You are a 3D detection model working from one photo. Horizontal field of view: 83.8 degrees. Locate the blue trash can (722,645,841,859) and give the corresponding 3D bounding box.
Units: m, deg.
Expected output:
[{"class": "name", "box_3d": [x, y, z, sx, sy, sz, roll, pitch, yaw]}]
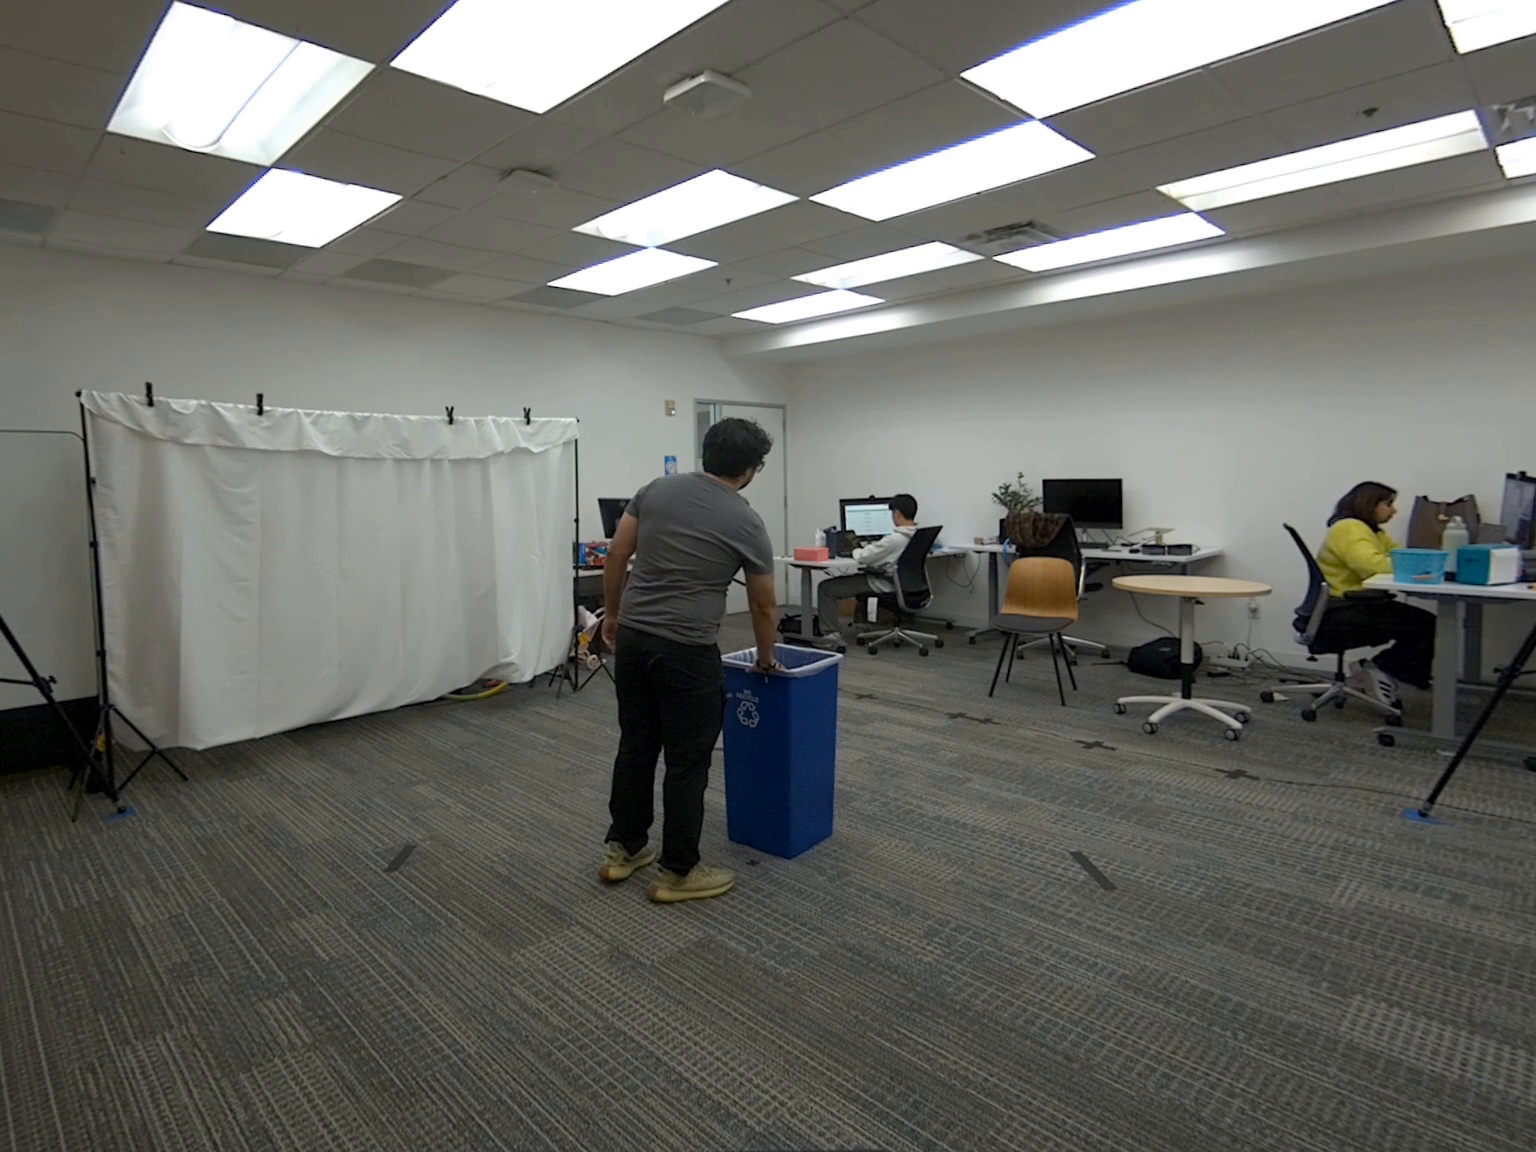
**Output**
[{"class": "blue trash can", "box_3d": [0.056, 0.659, 3.303, 0.385, 0.711, 0.368, 3, 6, 39]}]
